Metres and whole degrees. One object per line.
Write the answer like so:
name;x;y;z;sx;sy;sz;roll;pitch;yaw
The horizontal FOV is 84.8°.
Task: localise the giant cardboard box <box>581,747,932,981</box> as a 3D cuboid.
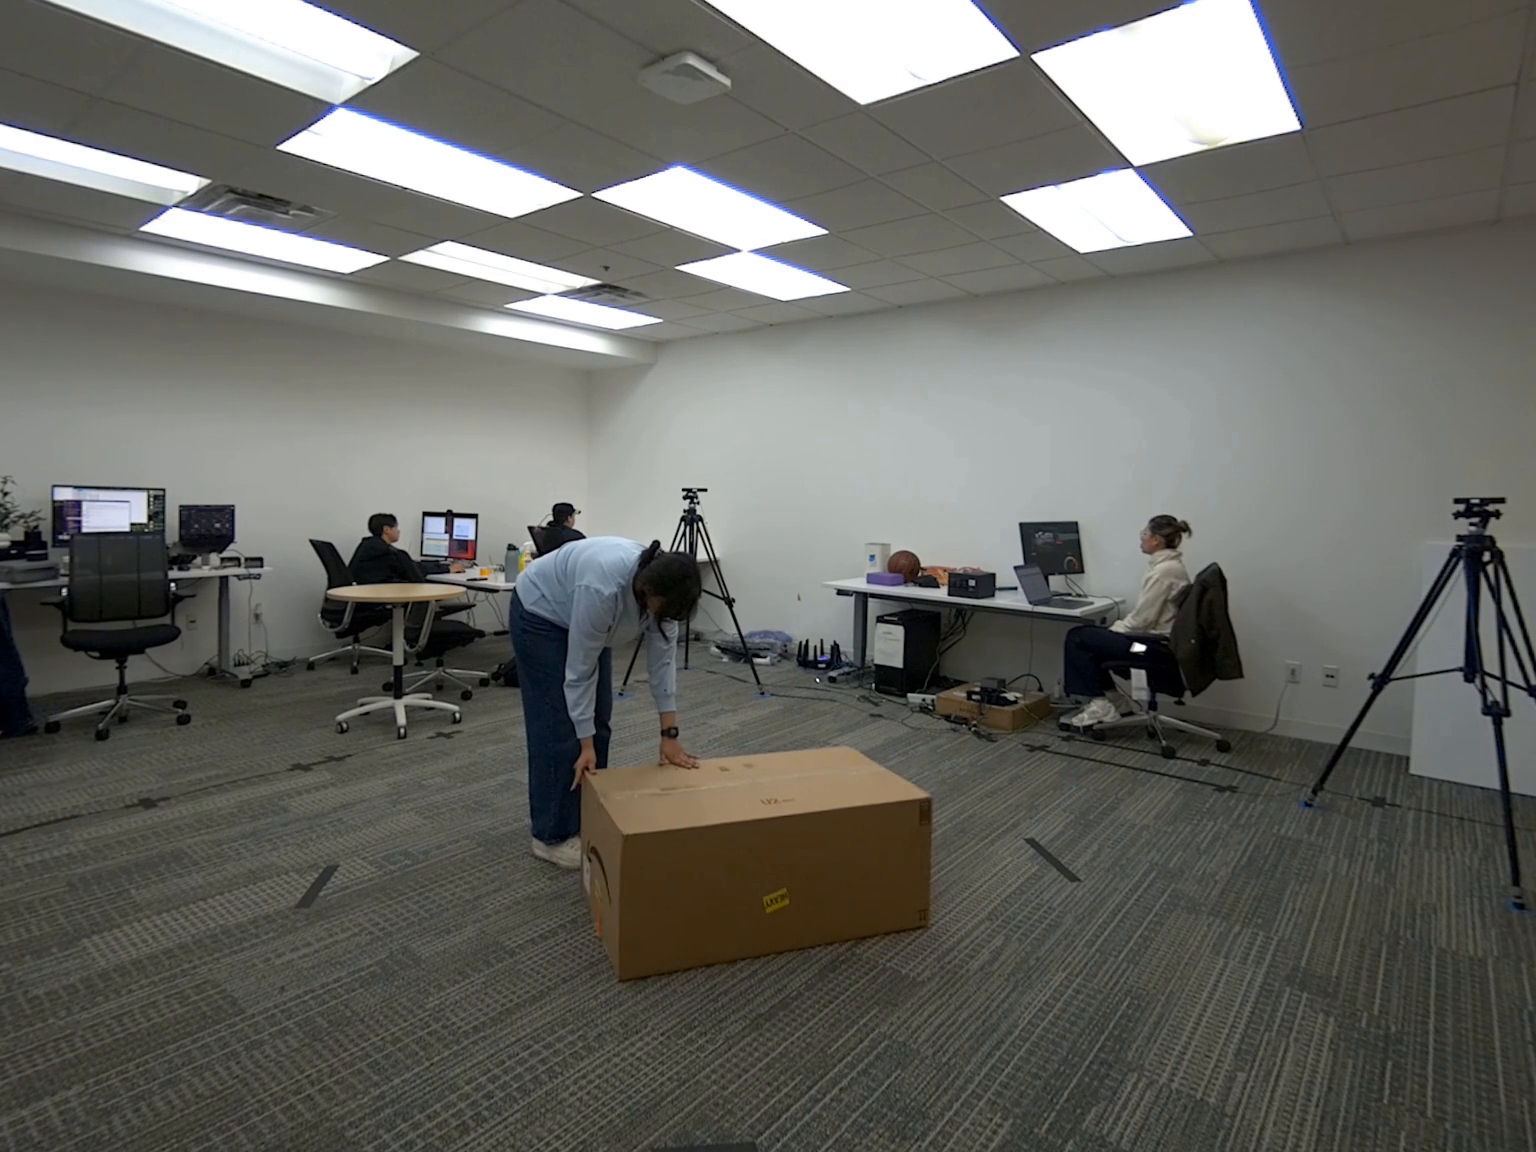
giant cardboard box;-0.064;0.887;2.812;1.004;0.425;0.592;-1;5;-21
